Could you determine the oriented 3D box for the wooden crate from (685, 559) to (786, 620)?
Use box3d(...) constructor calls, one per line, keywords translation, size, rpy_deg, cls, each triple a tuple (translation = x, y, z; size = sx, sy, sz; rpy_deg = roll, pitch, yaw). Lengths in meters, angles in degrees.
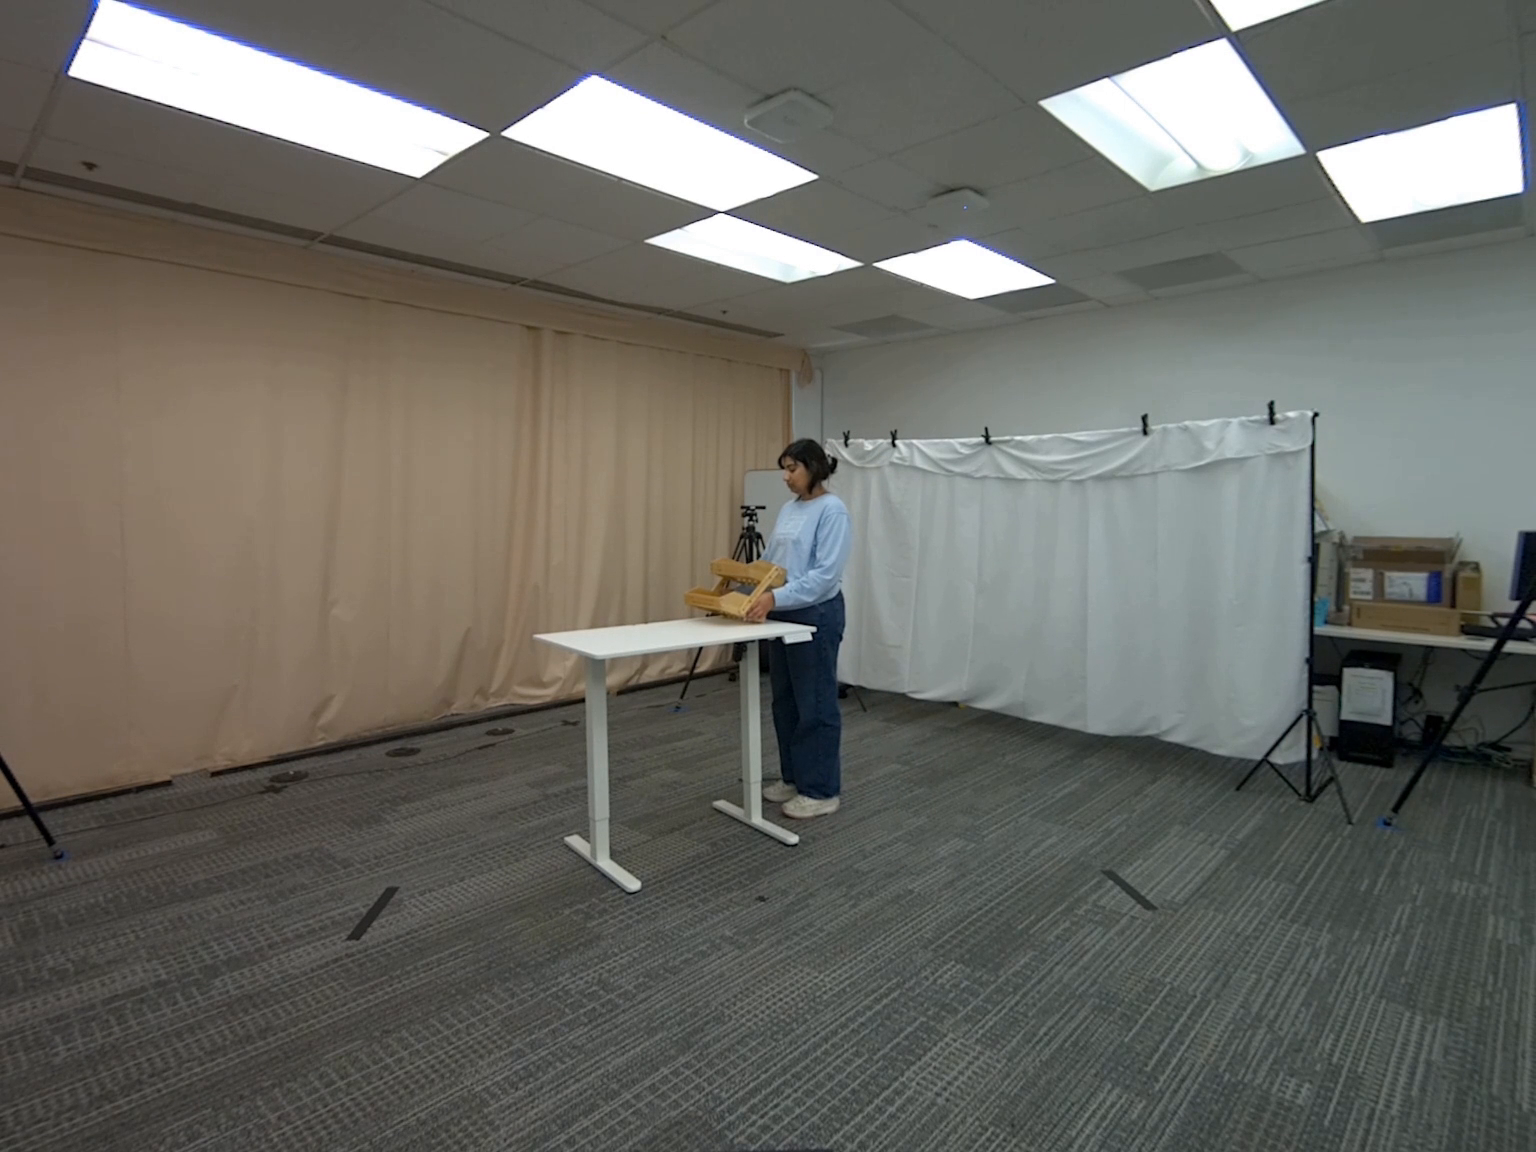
box3d(translation=(-0.146, 0.043, 3.748), size=(0.292, 0.274, 0.334), rpy_deg=(20, -9, -34), cls="wooden crate")
